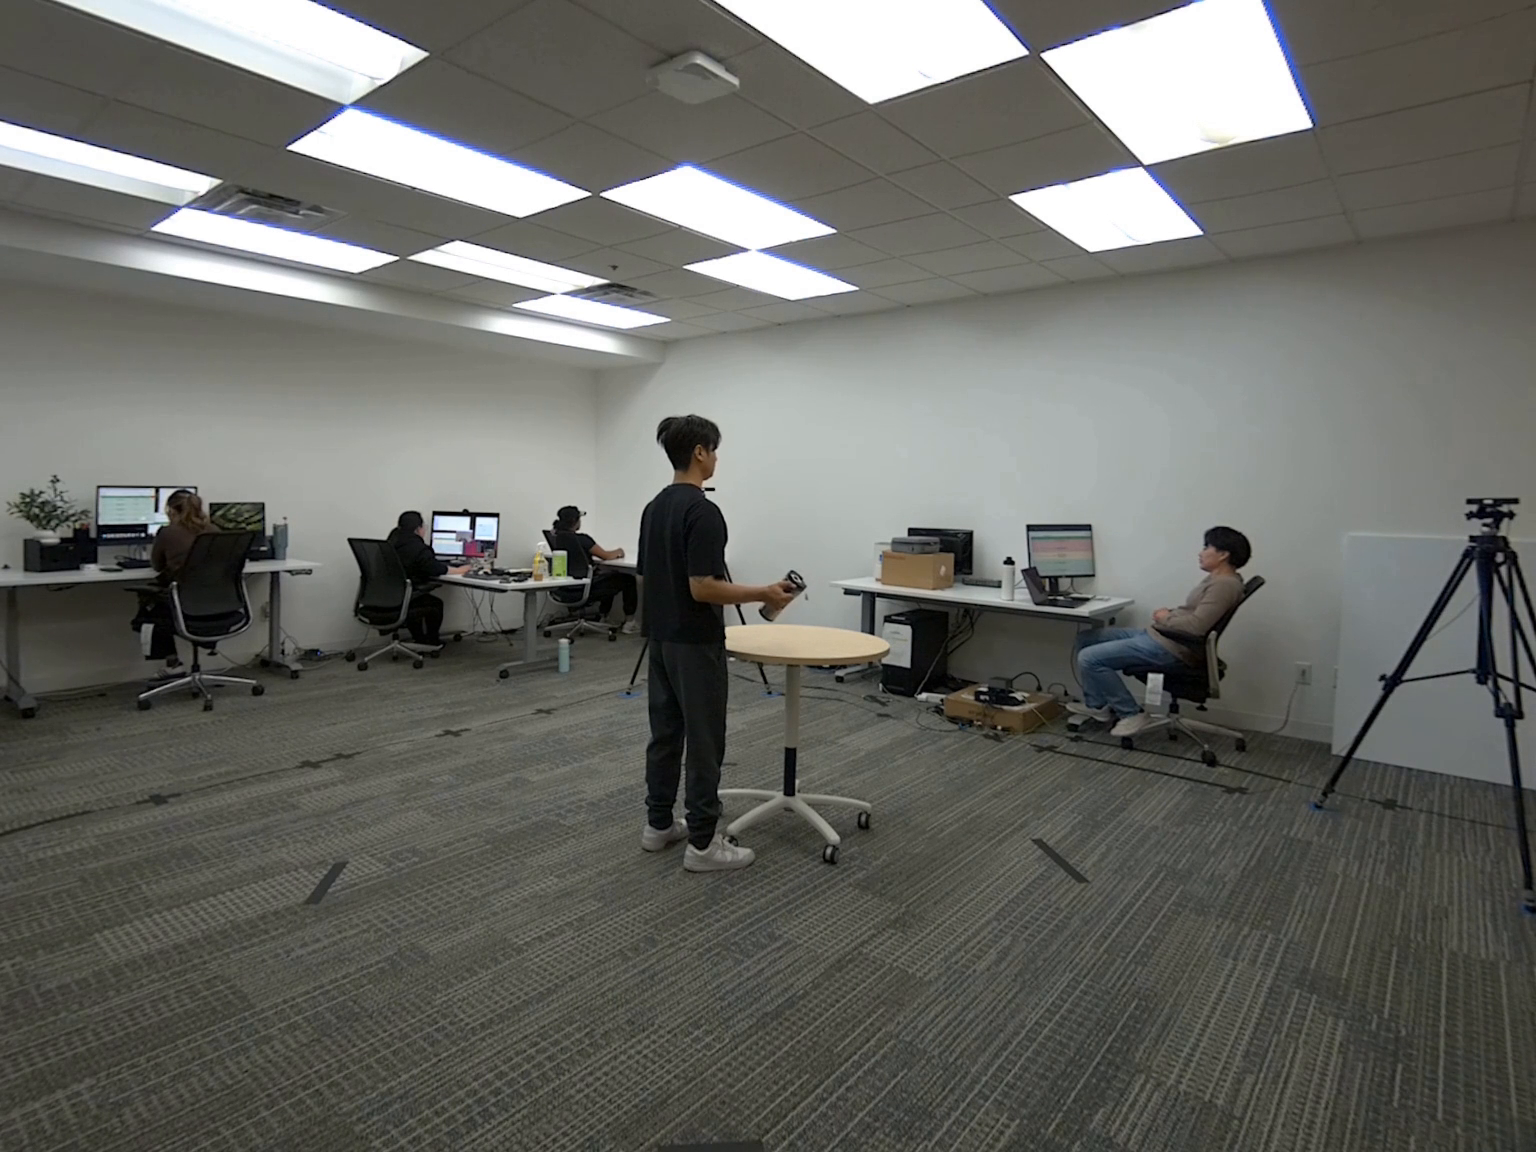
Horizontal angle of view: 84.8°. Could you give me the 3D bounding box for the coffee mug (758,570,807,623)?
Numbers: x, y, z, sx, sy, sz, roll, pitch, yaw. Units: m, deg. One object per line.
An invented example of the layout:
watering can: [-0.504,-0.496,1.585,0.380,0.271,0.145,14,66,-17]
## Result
coffee mug: [0.024,0.069,3.148,0.091,0.203,0.118,52,18,23]
